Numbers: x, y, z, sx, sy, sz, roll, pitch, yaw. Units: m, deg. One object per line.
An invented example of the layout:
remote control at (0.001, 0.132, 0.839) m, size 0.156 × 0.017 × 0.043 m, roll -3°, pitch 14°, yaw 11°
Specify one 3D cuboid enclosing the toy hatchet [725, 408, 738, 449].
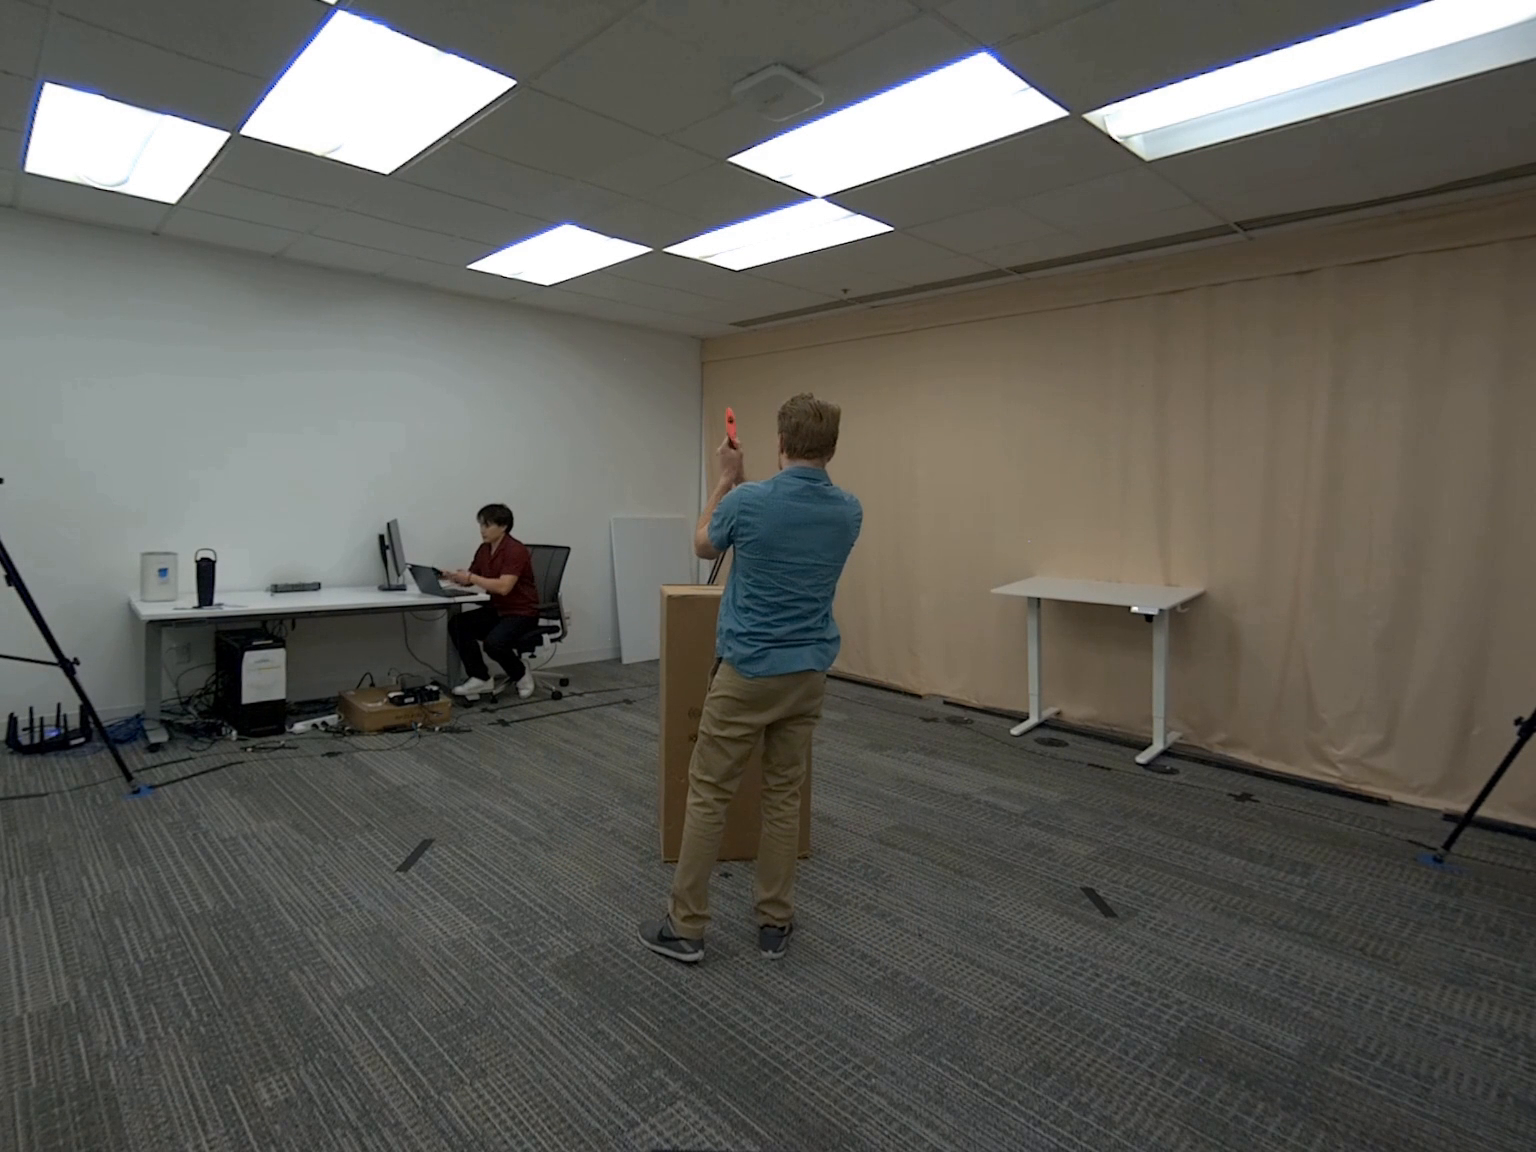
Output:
toy hatchet at (-0.122, -0.437, 2.702) m, size 0.029 × 0.132 × 0.267 m, roll -12°, pitch -10°, yaw -1°
